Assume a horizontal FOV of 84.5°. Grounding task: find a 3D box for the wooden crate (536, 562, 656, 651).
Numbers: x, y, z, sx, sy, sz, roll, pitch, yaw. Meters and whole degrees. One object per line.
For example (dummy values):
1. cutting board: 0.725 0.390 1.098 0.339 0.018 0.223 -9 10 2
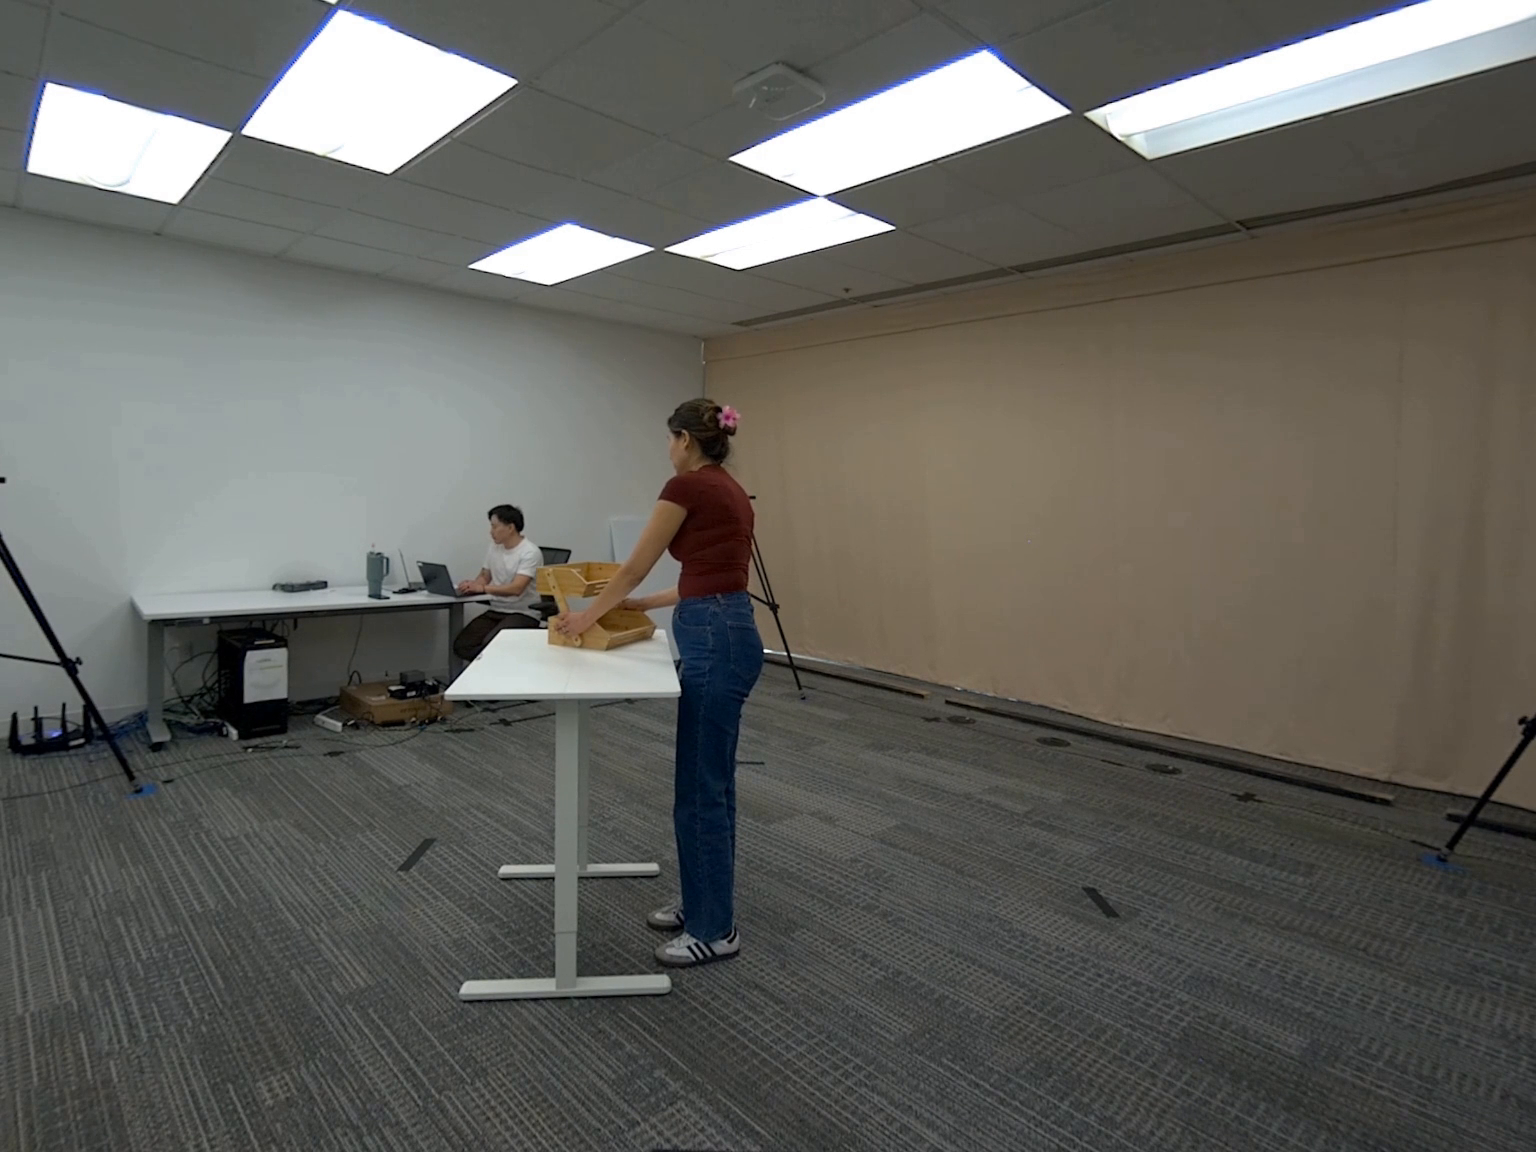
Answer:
1. wooden crate: -0.589 0.094 2.921 0.308 0.272 0.319 3 5 24
